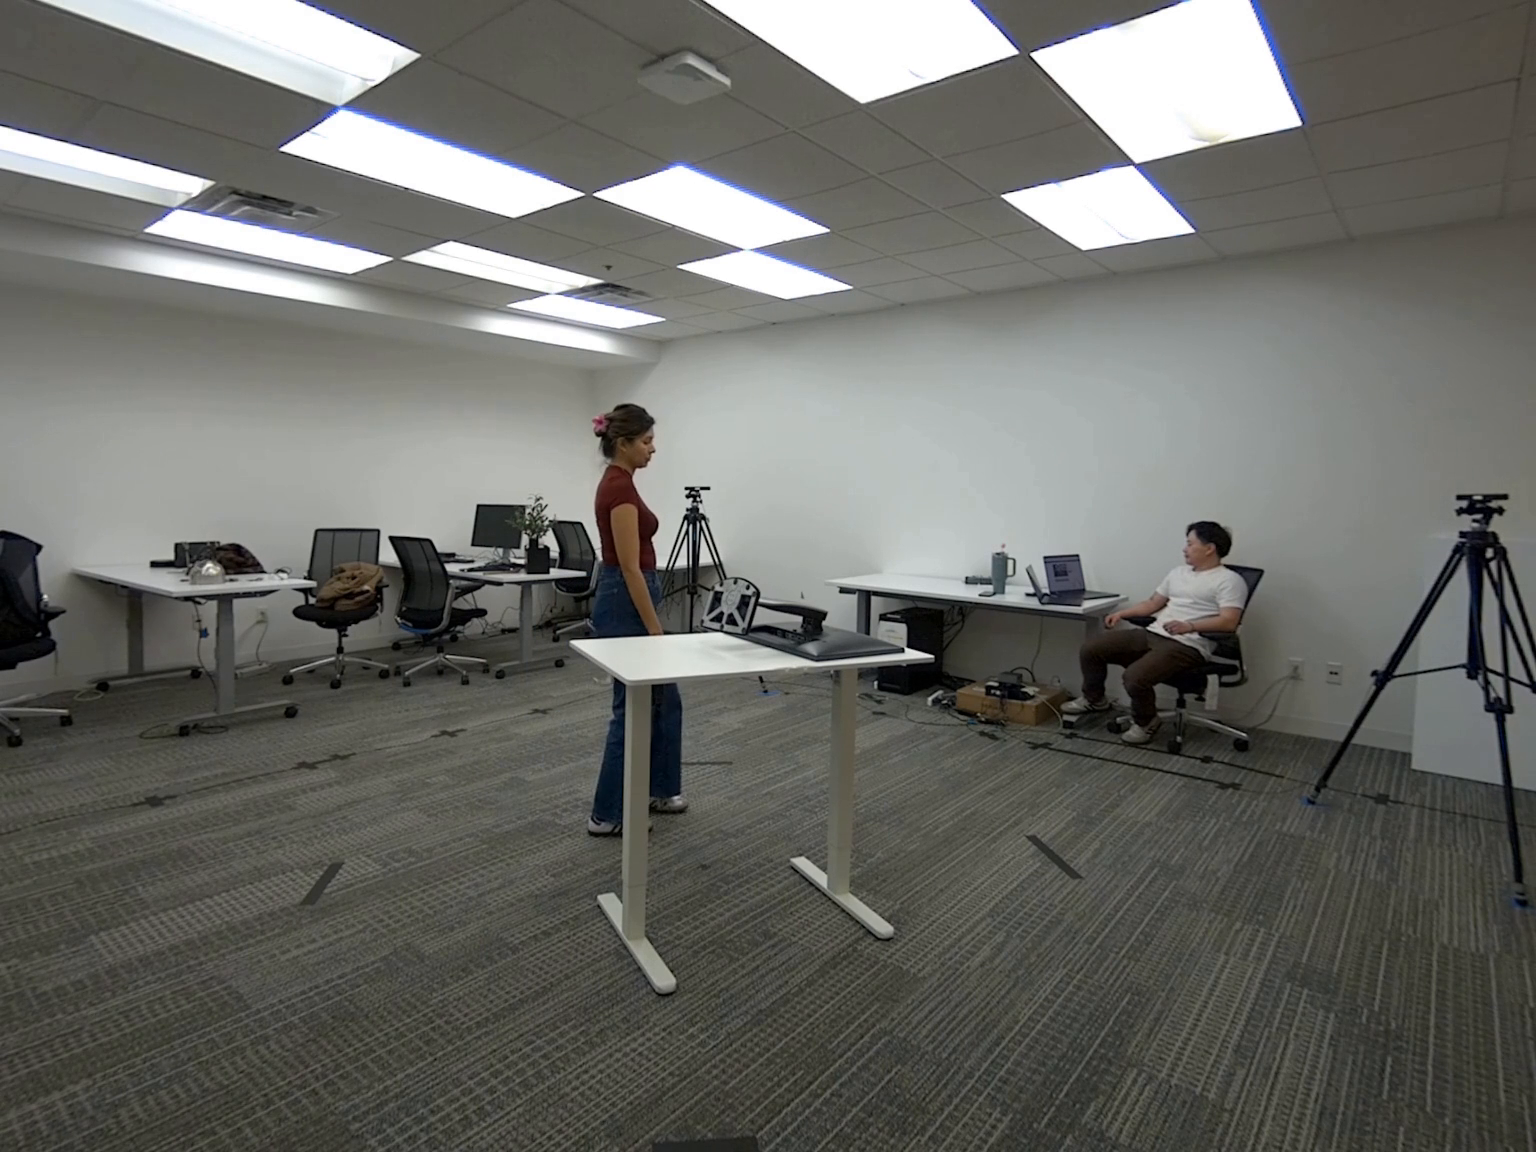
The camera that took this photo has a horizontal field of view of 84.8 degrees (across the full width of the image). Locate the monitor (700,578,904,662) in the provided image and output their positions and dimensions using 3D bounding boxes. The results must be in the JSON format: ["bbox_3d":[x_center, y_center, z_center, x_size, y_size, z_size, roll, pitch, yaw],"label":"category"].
[{"bbox_3d":[0.068,0.157,2.788,0.505,0.187,0.556,18,-4,-31],"label":"monitor"}]
